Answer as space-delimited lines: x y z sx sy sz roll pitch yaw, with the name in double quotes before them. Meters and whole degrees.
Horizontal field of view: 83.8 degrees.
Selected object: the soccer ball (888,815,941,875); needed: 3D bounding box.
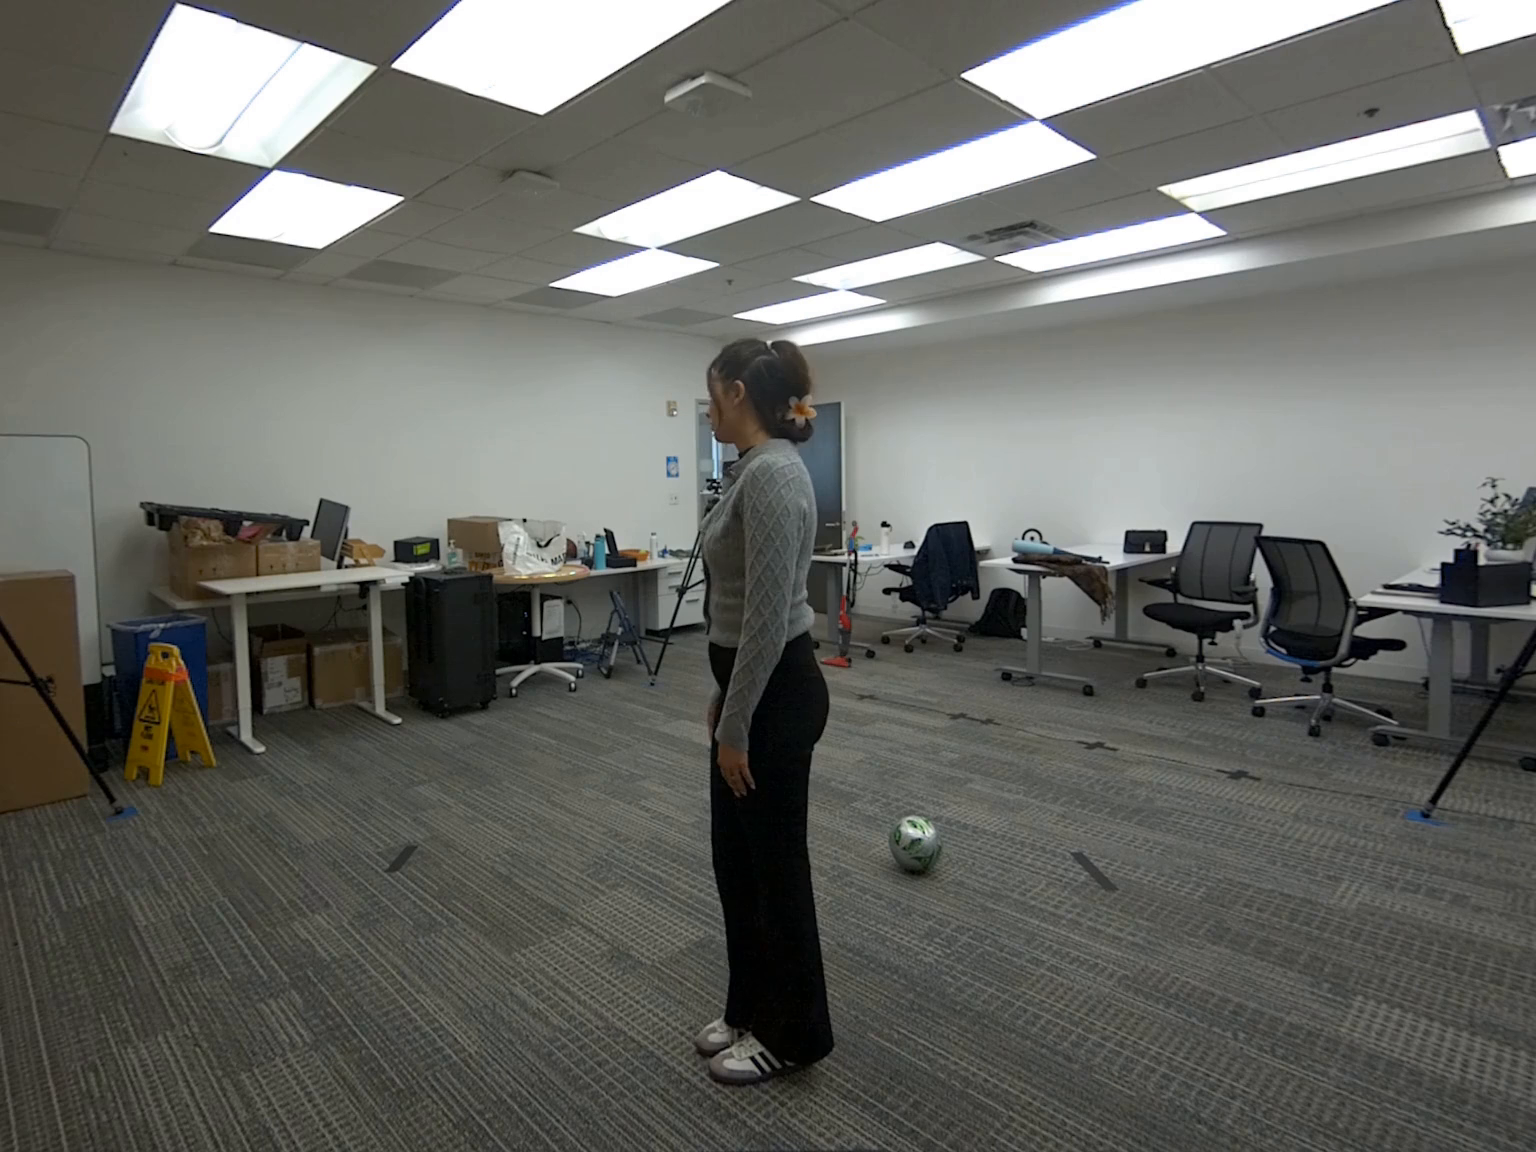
"soccer ball" 0.526 0.947 3.030 0.187 0.187 0.188 -1 5 -2
